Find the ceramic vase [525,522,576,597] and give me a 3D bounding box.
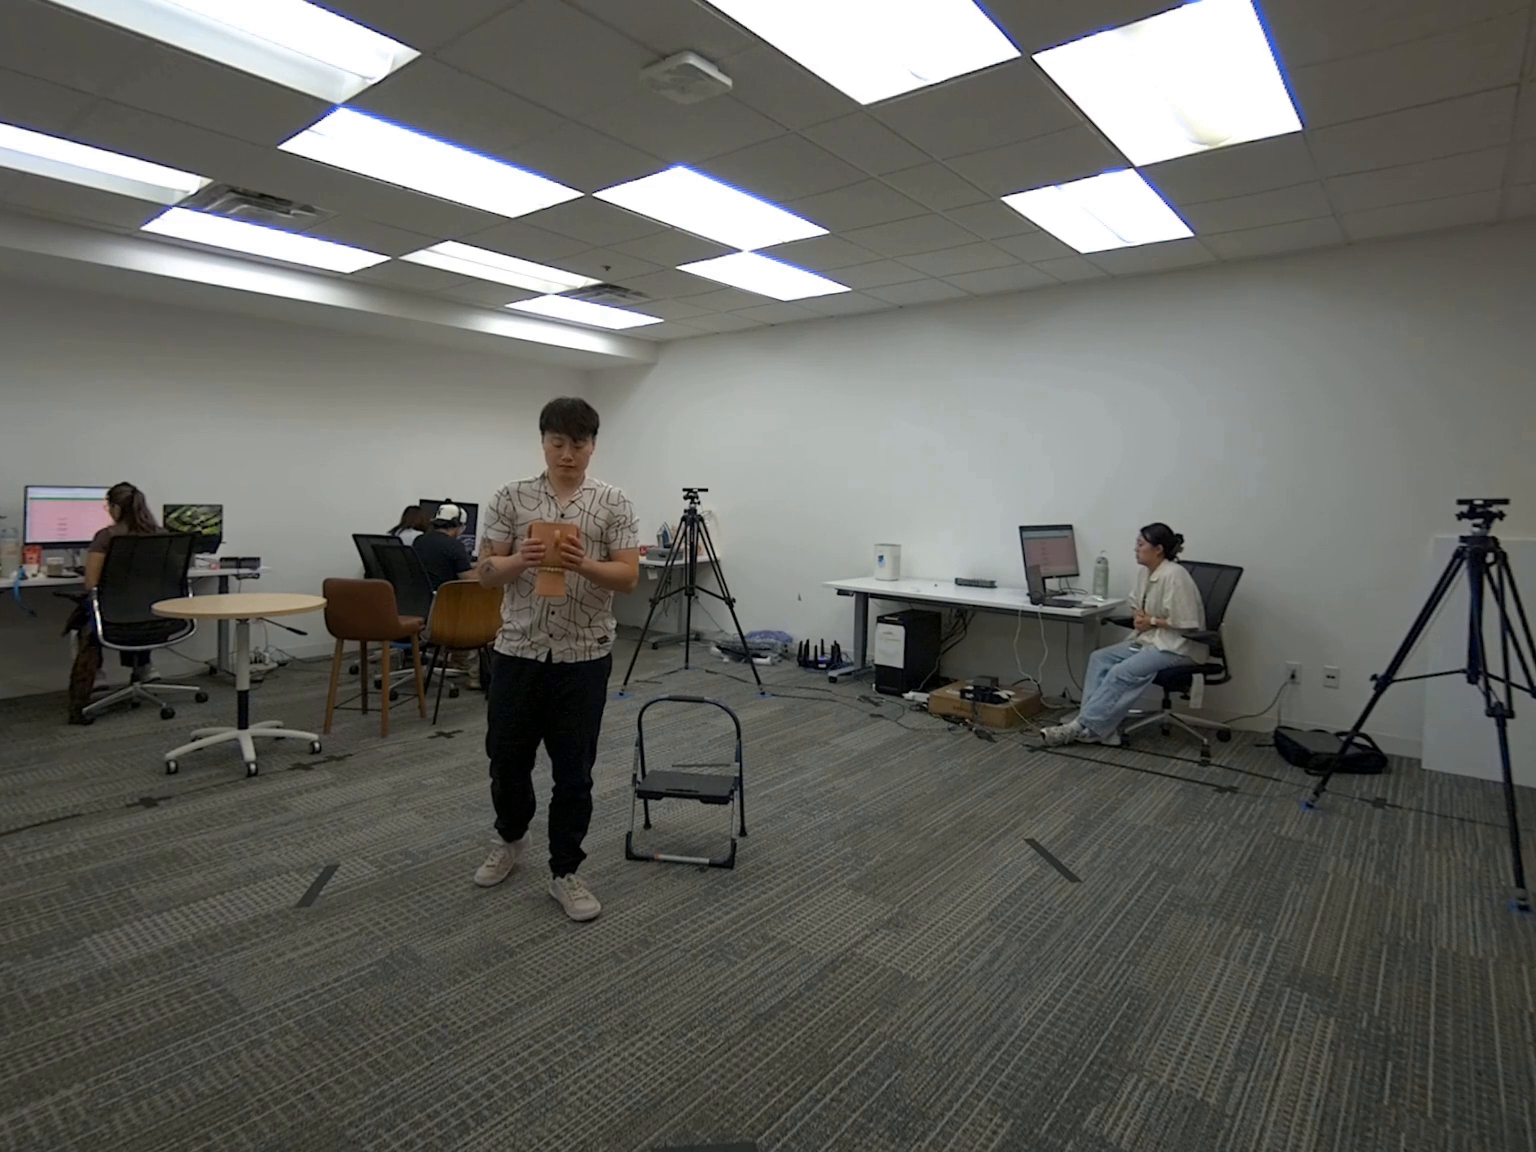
[{"bbox_3d":[-0.667,-0.054,2.566,0.138,0.220,0.155,3,-1,23],"label":"ceramic vase"}]
